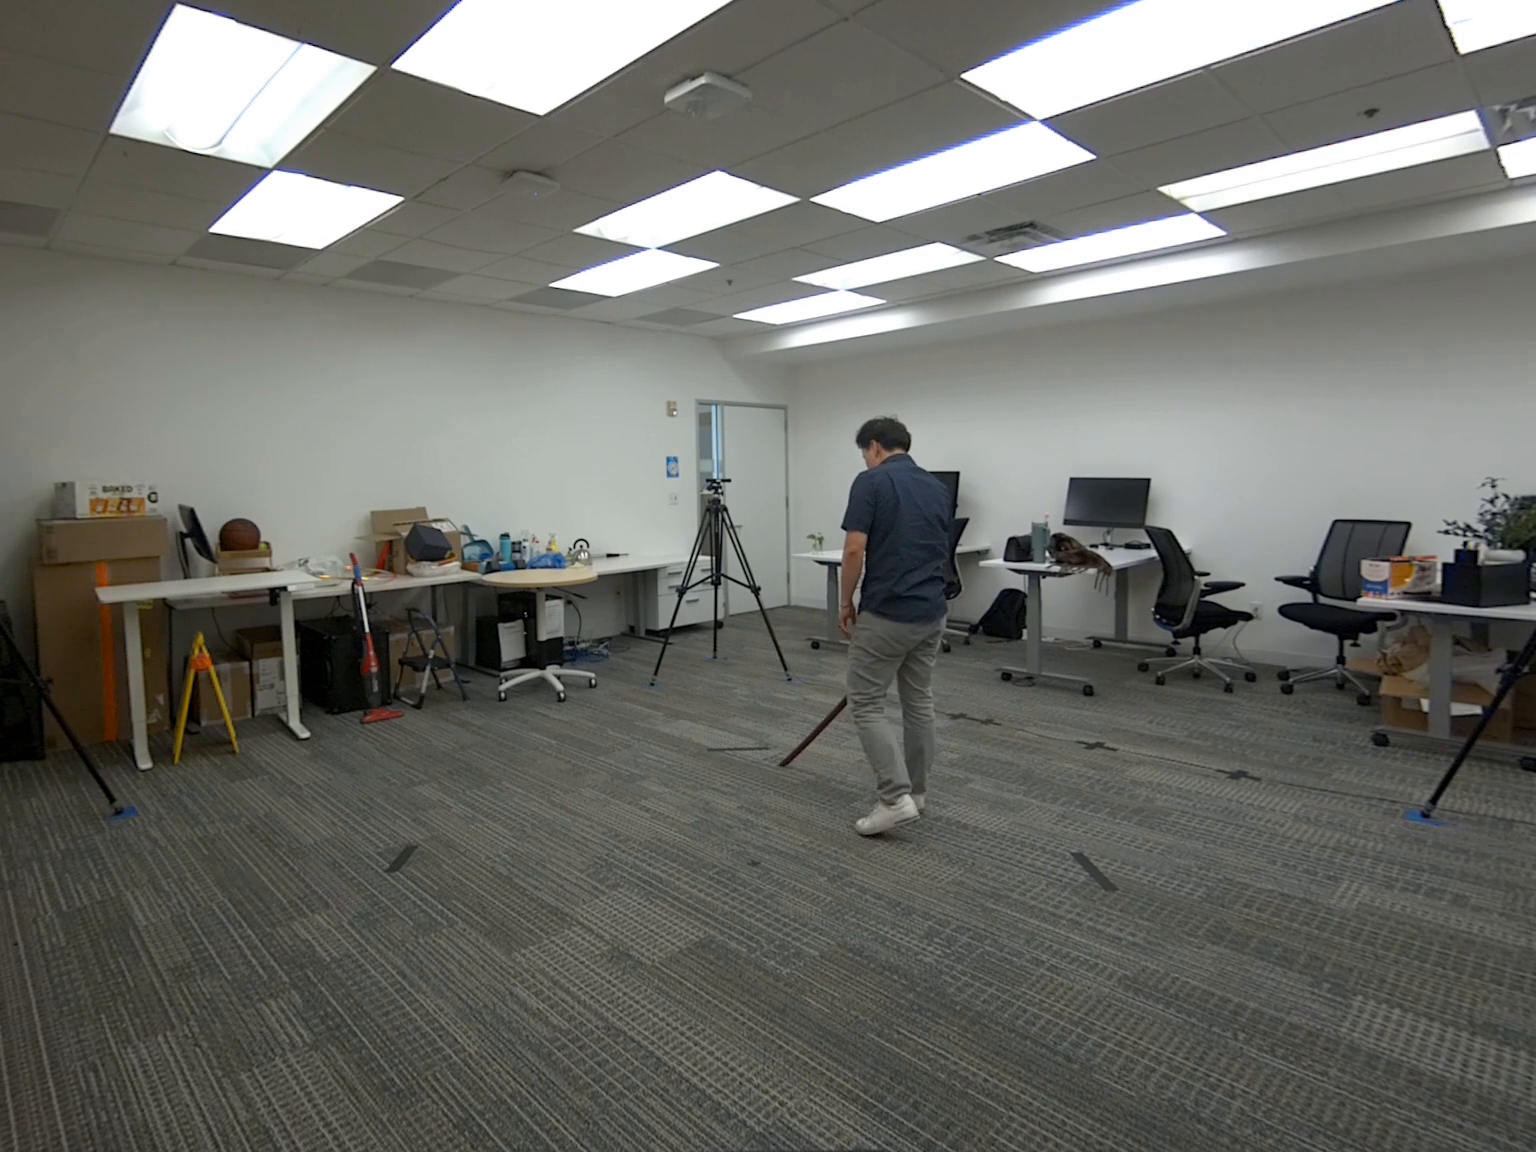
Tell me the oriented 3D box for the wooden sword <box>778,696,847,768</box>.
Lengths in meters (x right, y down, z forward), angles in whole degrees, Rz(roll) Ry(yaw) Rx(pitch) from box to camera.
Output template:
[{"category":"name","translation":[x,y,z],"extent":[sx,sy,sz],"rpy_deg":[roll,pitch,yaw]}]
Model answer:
[{"category":"wooden sword","translation":[0.352,0.577,3.936],"extent":[0.024,1.022,0.052],"rpy_deg":[34,26,-12]}]
